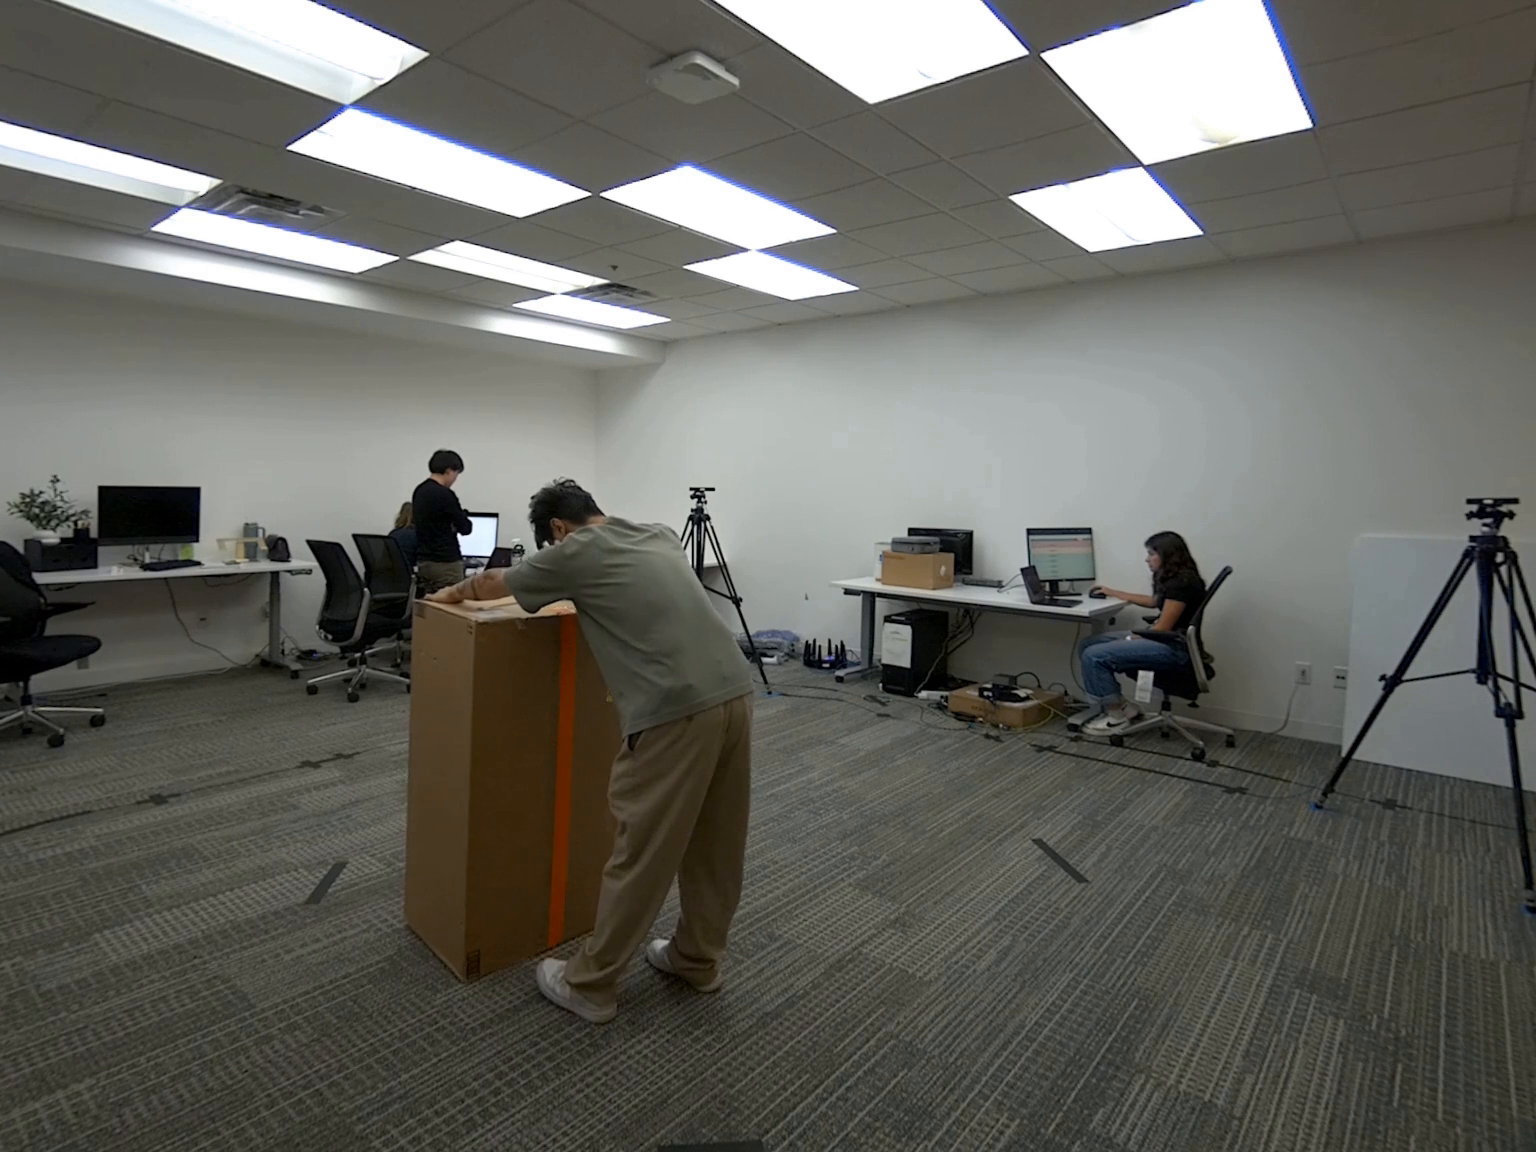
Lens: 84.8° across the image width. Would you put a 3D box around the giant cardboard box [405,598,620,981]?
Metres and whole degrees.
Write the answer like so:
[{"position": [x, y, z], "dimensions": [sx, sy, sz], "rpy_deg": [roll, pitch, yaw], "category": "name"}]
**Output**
[{"position": [-0.781, 0.586, 2.670], "dimensions": [0.559, 1.022, 0.441], "rpy_deg": [-1, 6, -44], "category": "giant cardboard box"}]
